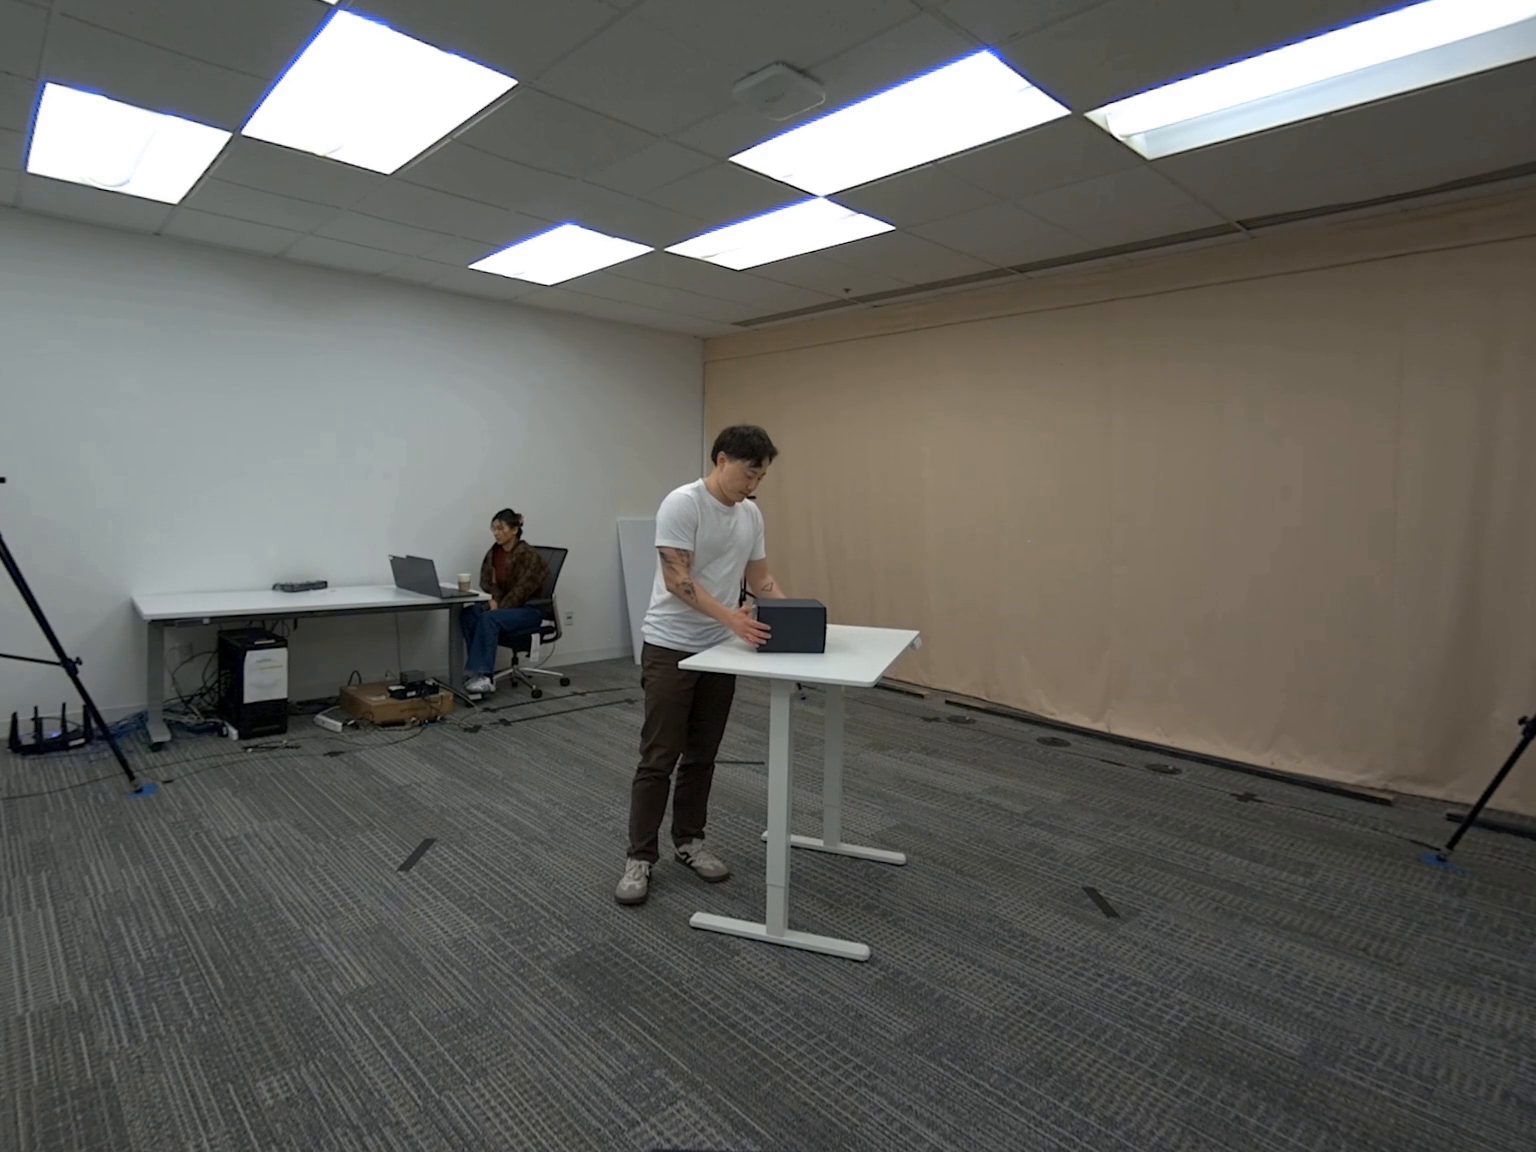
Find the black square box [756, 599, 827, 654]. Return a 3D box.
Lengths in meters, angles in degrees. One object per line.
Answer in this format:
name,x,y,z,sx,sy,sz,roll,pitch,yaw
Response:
black square box,0.058,0.168,2.879,0.228,0.155,0.218,1,4,-1
